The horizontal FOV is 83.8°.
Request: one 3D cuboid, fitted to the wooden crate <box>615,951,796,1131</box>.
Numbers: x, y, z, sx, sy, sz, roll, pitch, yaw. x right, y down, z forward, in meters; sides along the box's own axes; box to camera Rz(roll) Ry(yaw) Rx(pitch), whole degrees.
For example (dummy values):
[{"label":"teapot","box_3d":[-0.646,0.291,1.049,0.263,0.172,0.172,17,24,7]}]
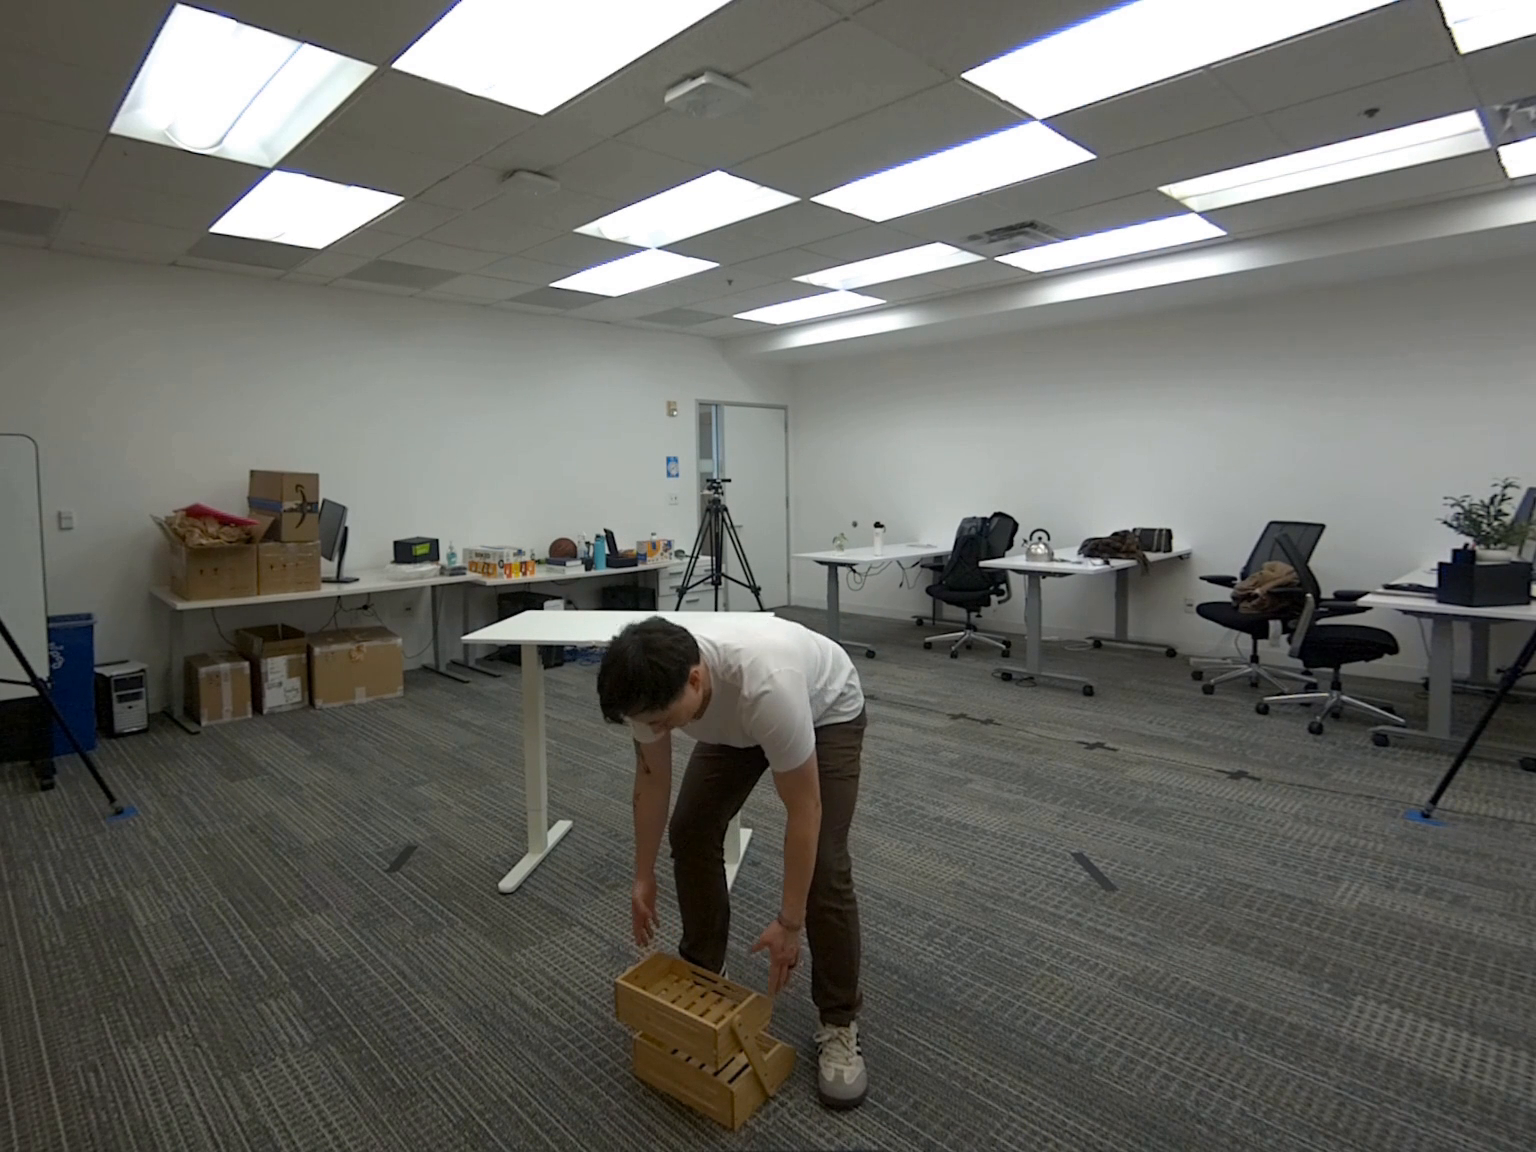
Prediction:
[{"label":"wooden crate","box_3d":[-0.133,1.047,1.993,0.334,0.272,0.295,2,6,36]}]
